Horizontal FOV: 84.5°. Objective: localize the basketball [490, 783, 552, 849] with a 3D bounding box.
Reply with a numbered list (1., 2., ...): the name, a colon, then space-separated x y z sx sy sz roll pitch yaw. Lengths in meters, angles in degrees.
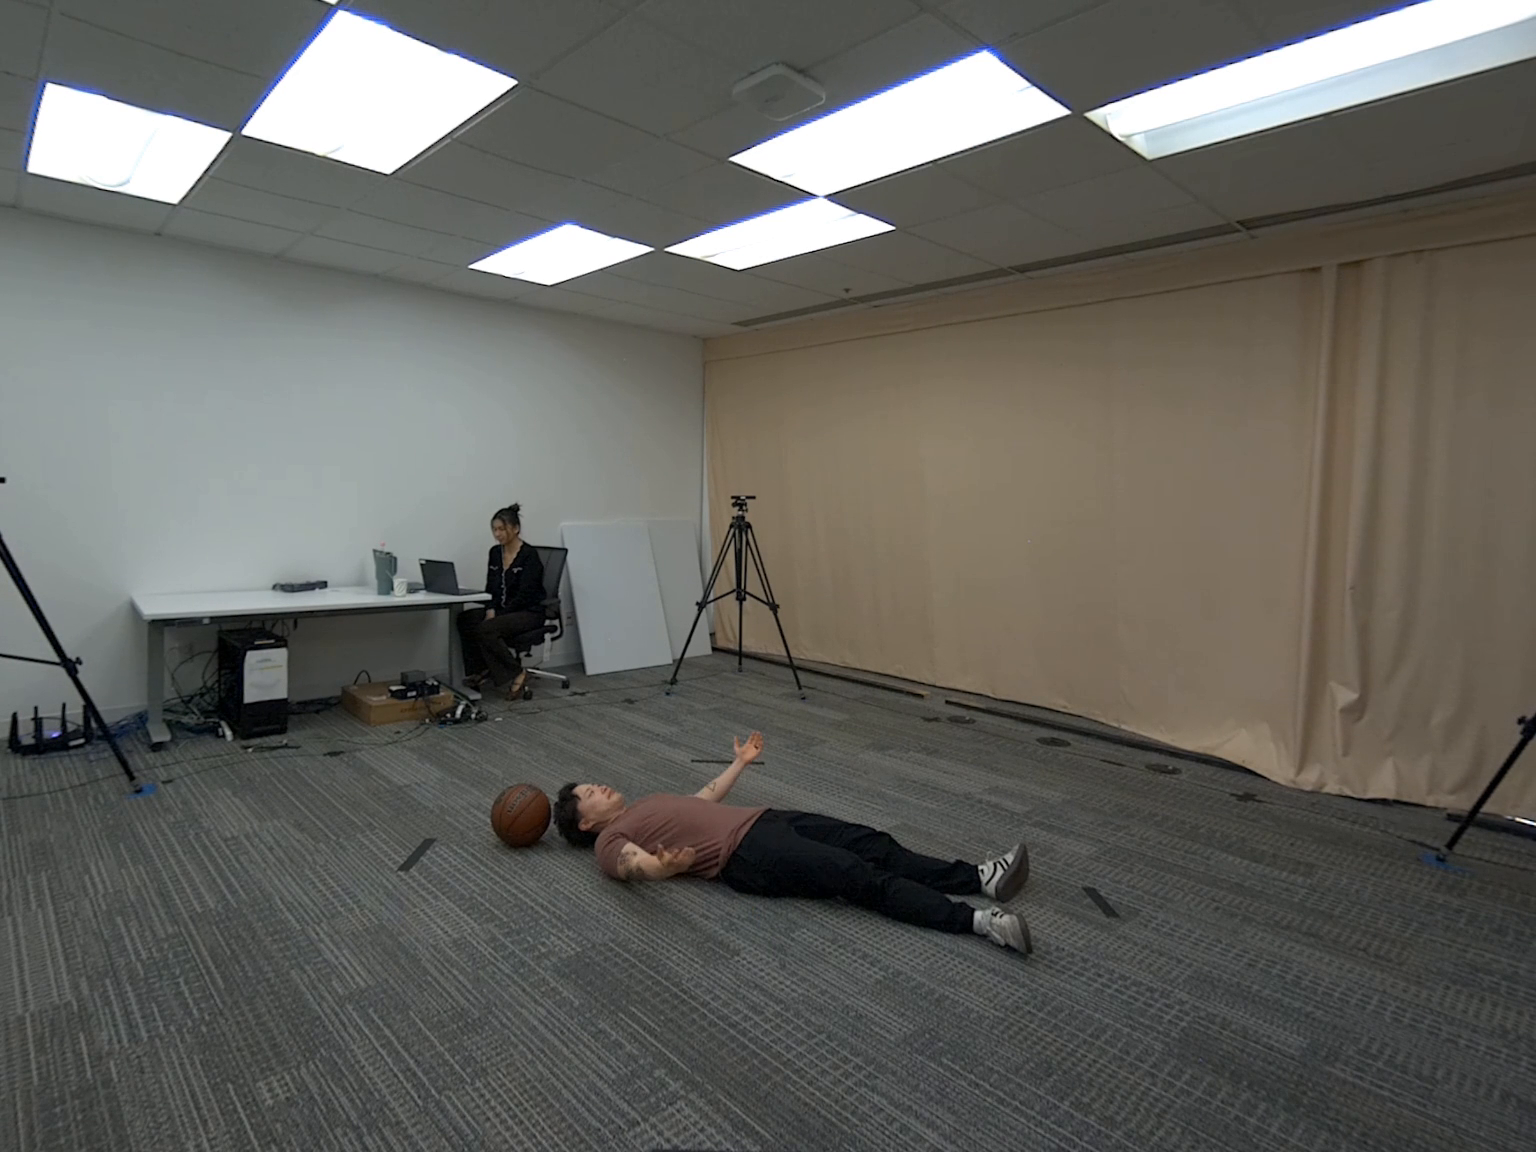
1. basketball: -0.984 0.942 3.327 0.236 0.234 0.237 0 8 -1
